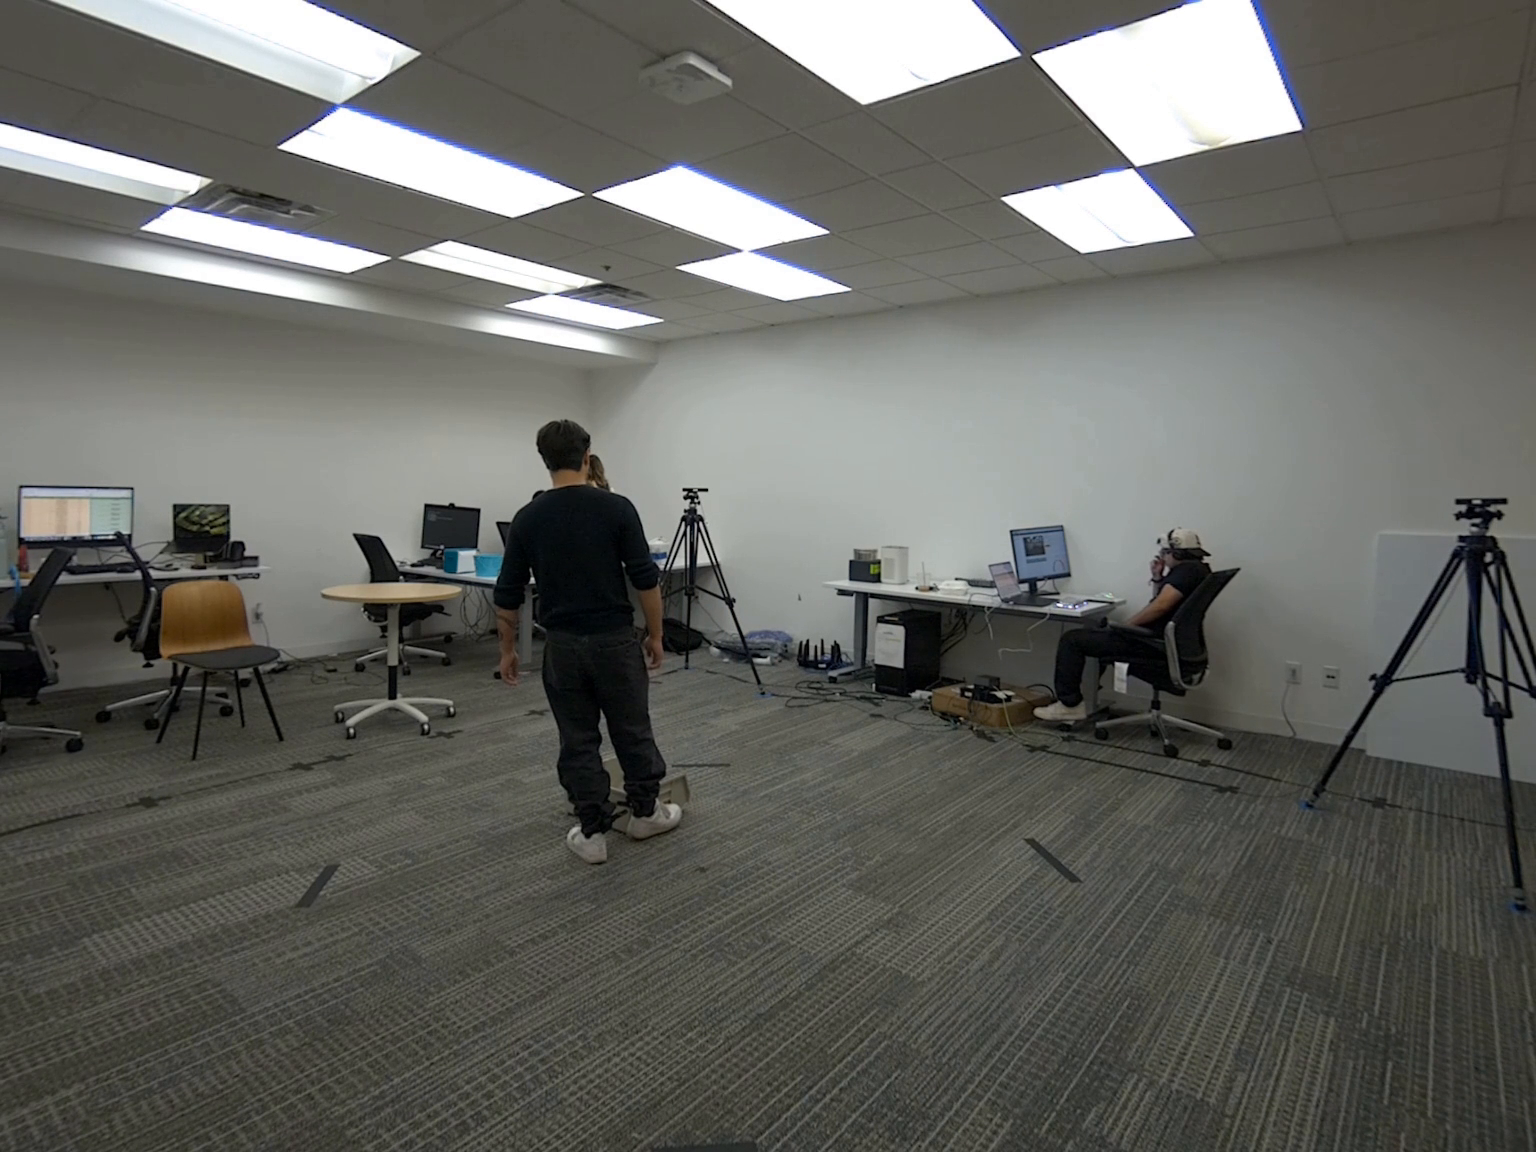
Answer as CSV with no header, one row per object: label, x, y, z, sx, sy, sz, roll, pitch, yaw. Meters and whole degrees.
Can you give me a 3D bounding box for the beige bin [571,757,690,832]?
beige bin,-0.620,0.922,3.642,0.436,0.188,0.367,5,8,36
